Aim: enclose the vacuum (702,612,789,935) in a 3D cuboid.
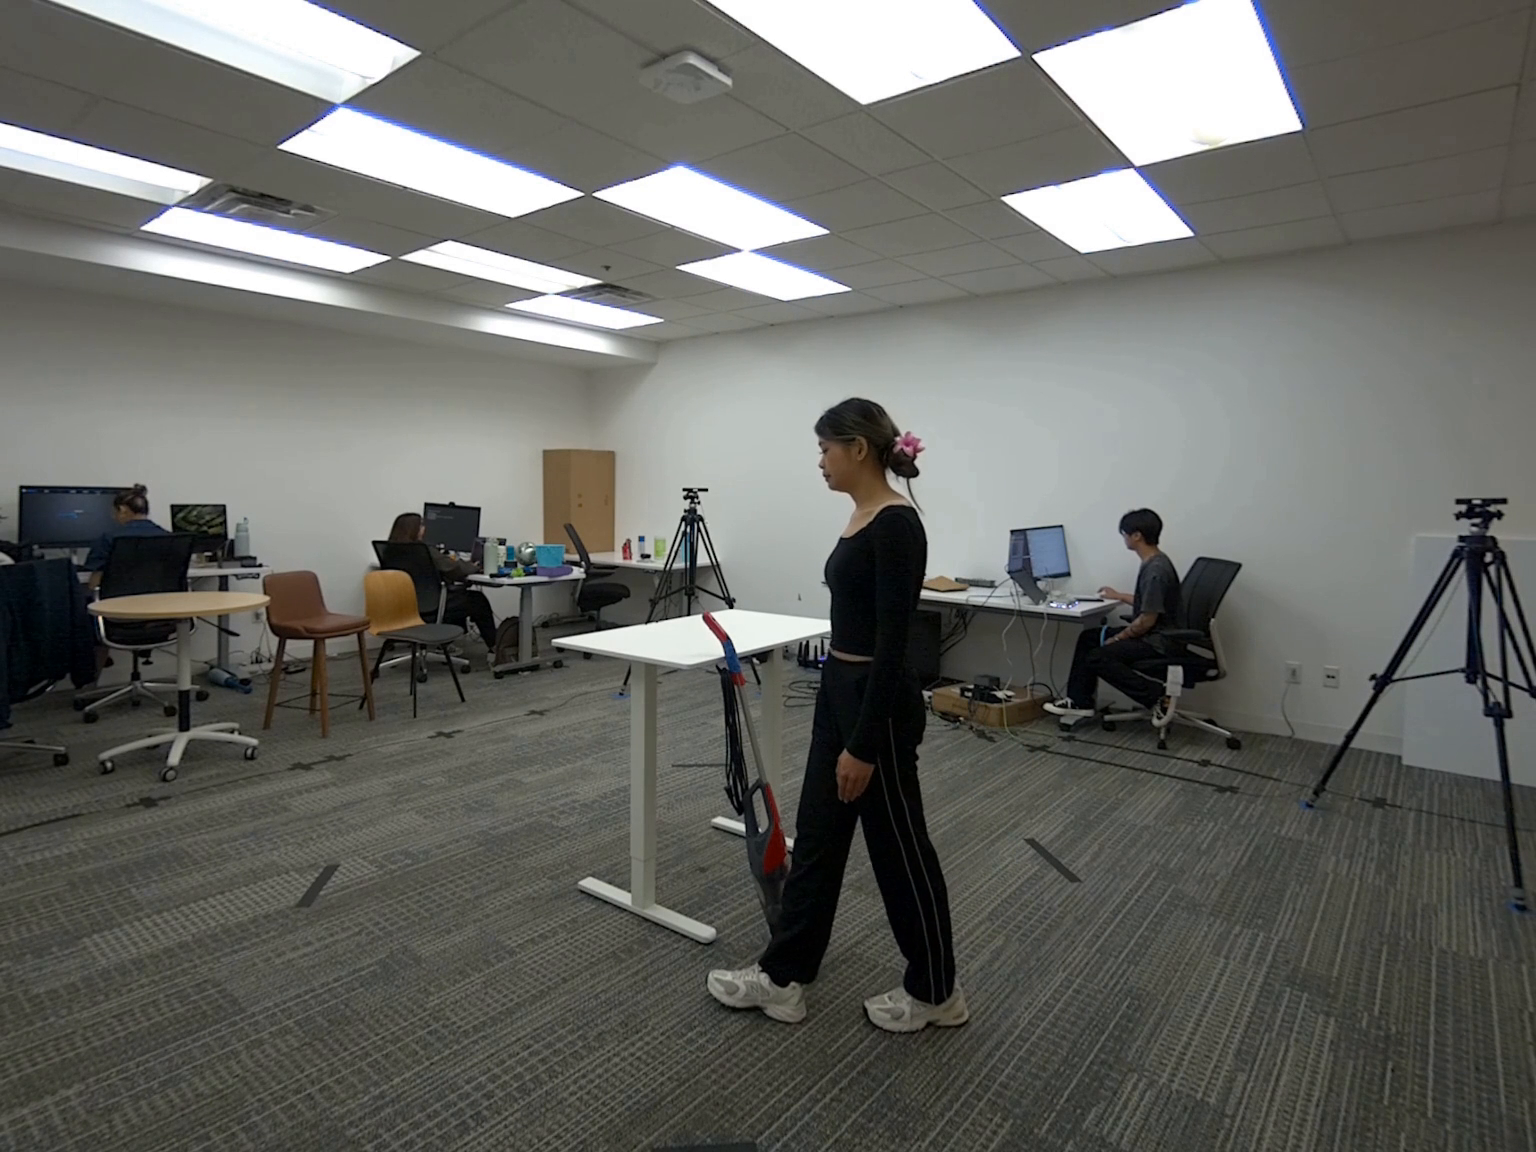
[{"bbox_3d":[-0.061,0.625,2.560,0.146,1.053,0.247,-17,-3,24],"label":"vacuum"}]
